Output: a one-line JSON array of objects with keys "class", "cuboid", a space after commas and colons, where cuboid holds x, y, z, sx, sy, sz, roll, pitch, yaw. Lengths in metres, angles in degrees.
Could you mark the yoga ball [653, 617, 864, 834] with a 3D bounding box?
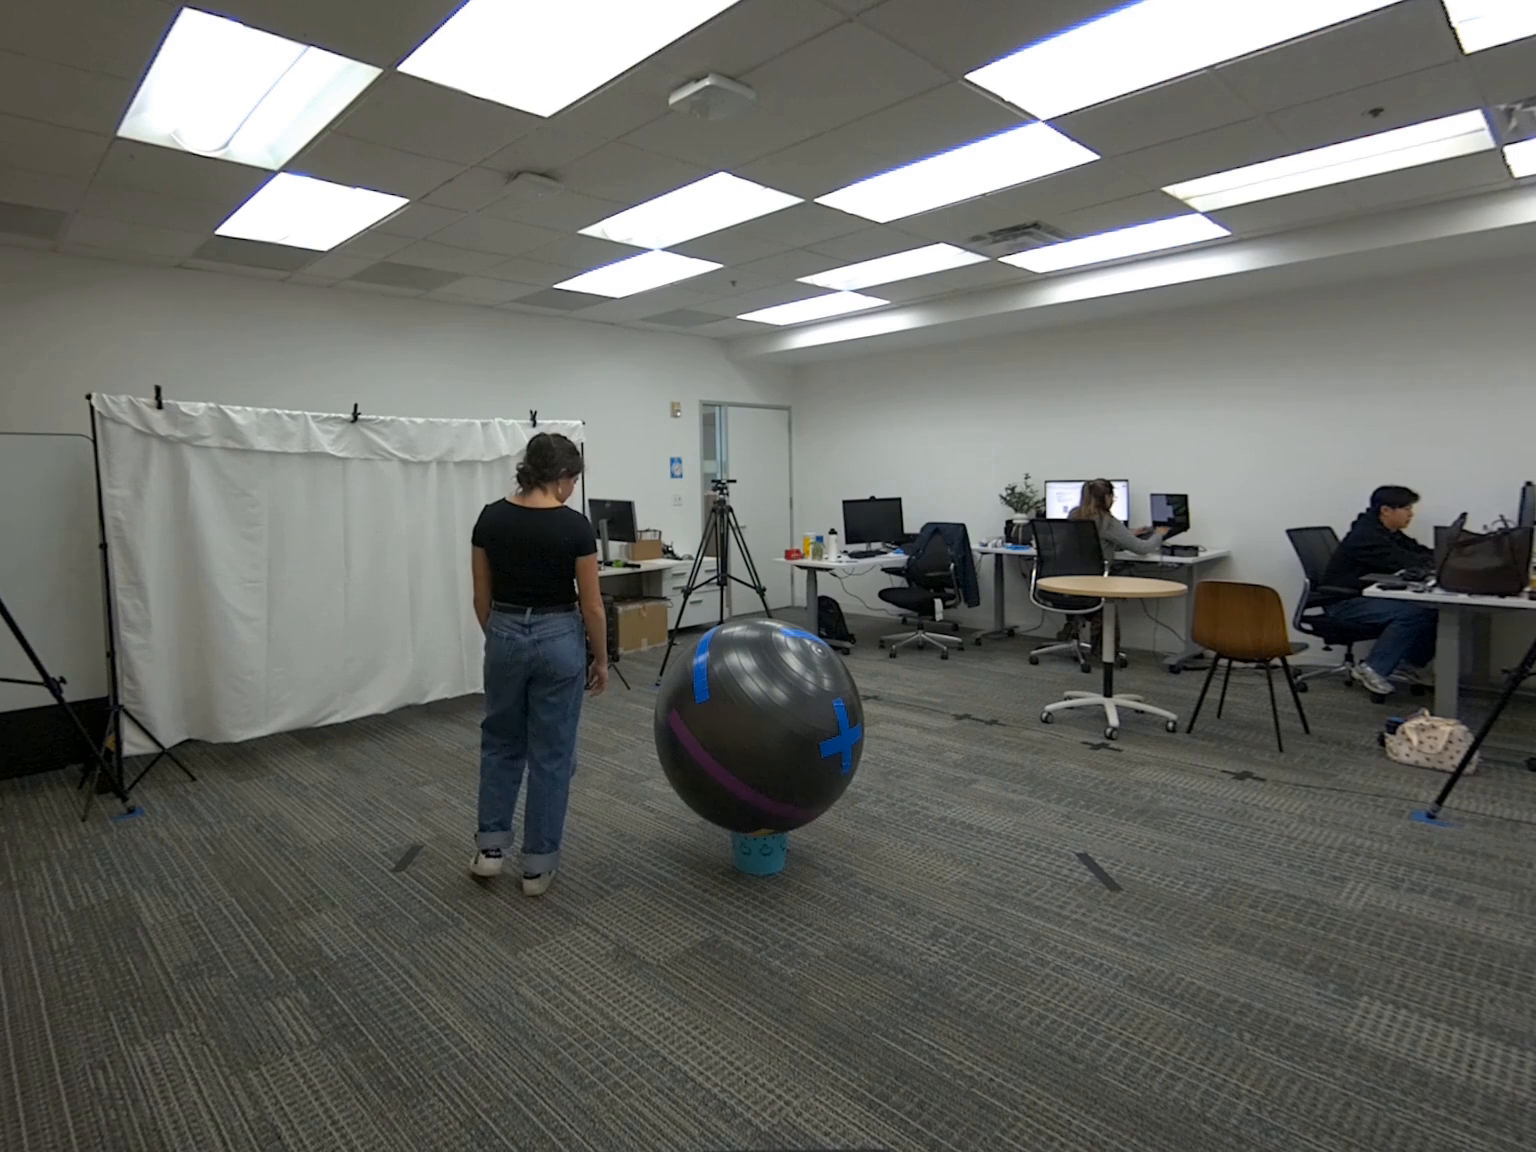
[{"class": "yoga ball", "cuboid": [-0.030, 0.538, 3.087, 0.757, 0.755, 0.762, -1, 5, -2]}]
